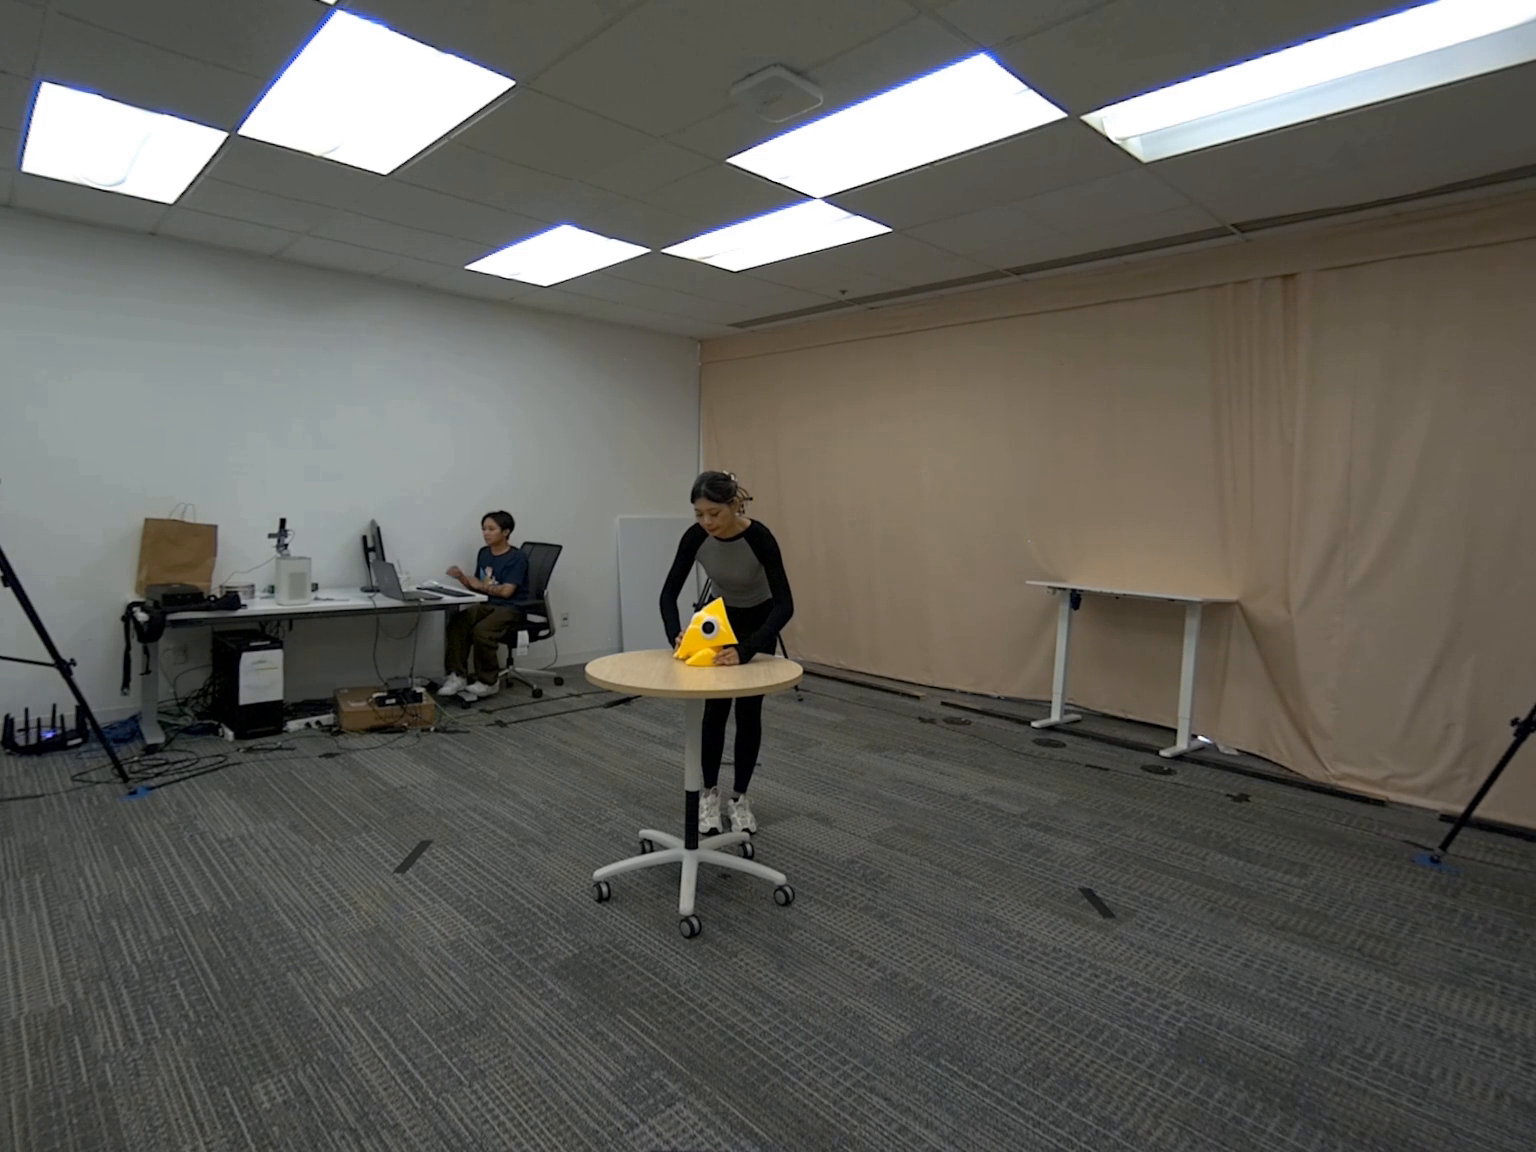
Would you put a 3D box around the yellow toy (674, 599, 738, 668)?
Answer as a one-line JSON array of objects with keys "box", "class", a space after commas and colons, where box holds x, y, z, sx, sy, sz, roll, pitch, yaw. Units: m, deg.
[{"box": [-0.245, 0.197, 3.085, 0.189, 0.230, 0.209, 2, 5, -27], "class": "yellow toy"}]
